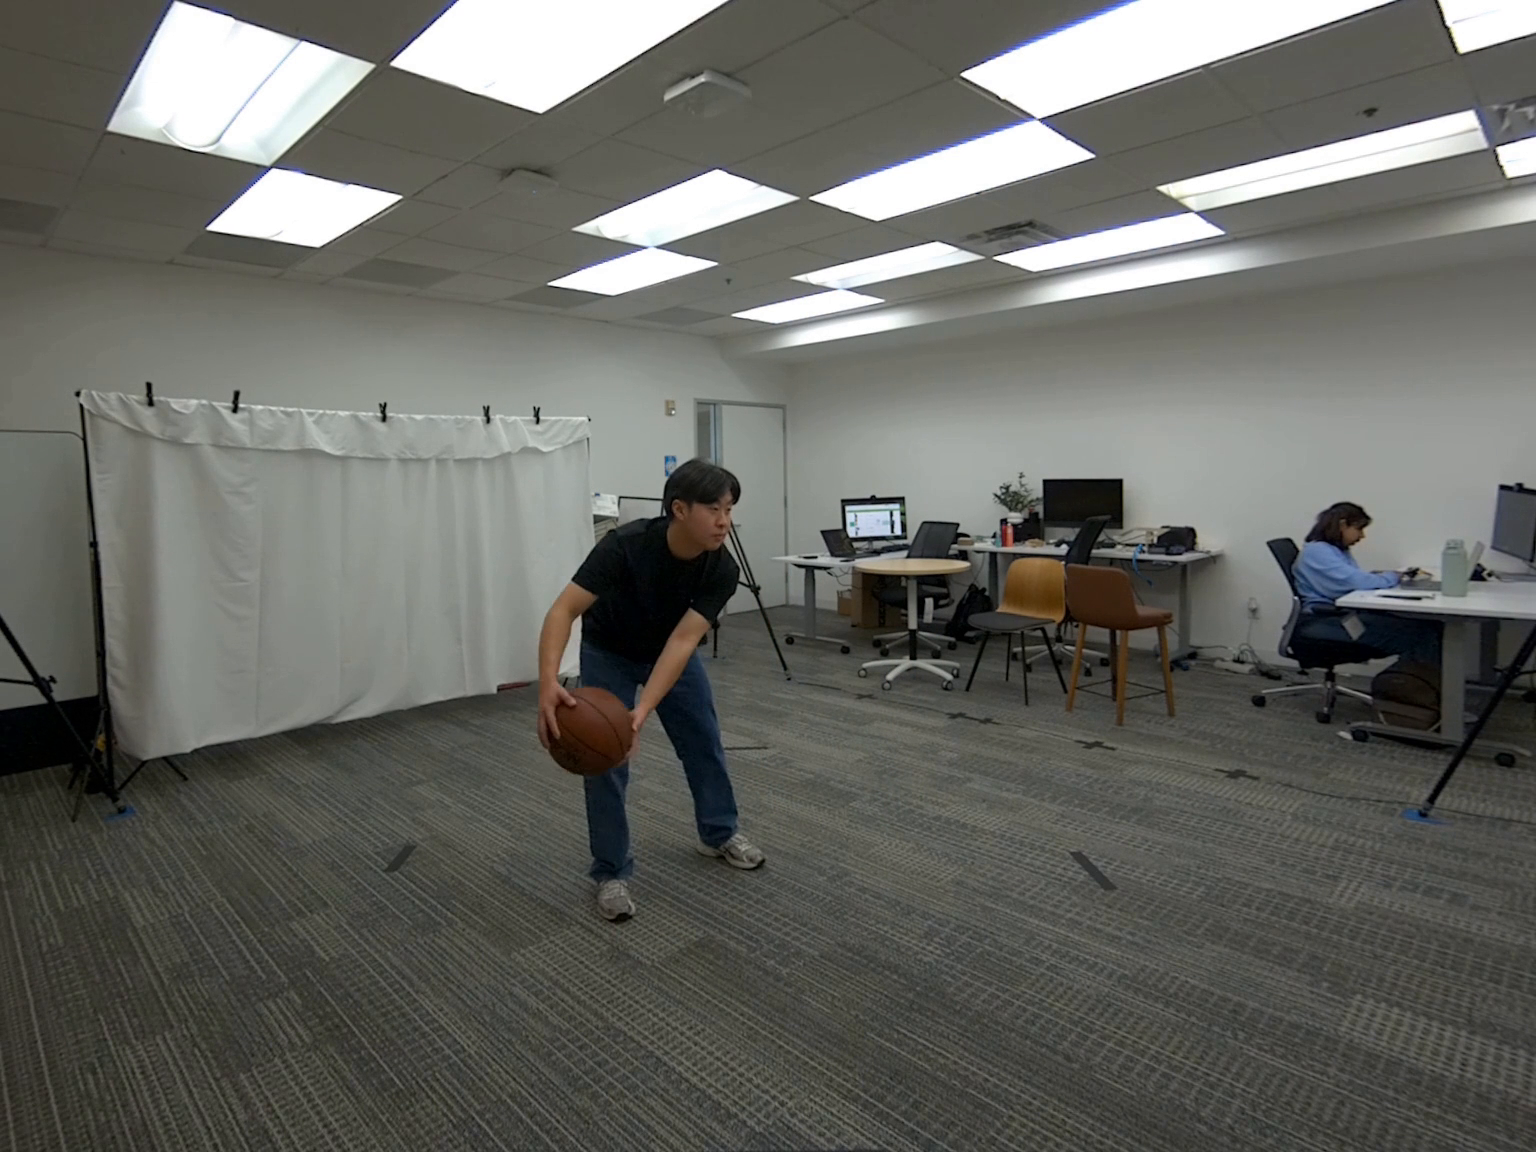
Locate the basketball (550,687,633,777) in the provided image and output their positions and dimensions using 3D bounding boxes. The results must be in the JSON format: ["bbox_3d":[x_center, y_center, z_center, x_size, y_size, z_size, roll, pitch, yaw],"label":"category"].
[{"bbox_3d":[-0.493,0.429,2.368,0.236,0.235,0.237,-1,5,-2],"label":"basketball"}]
